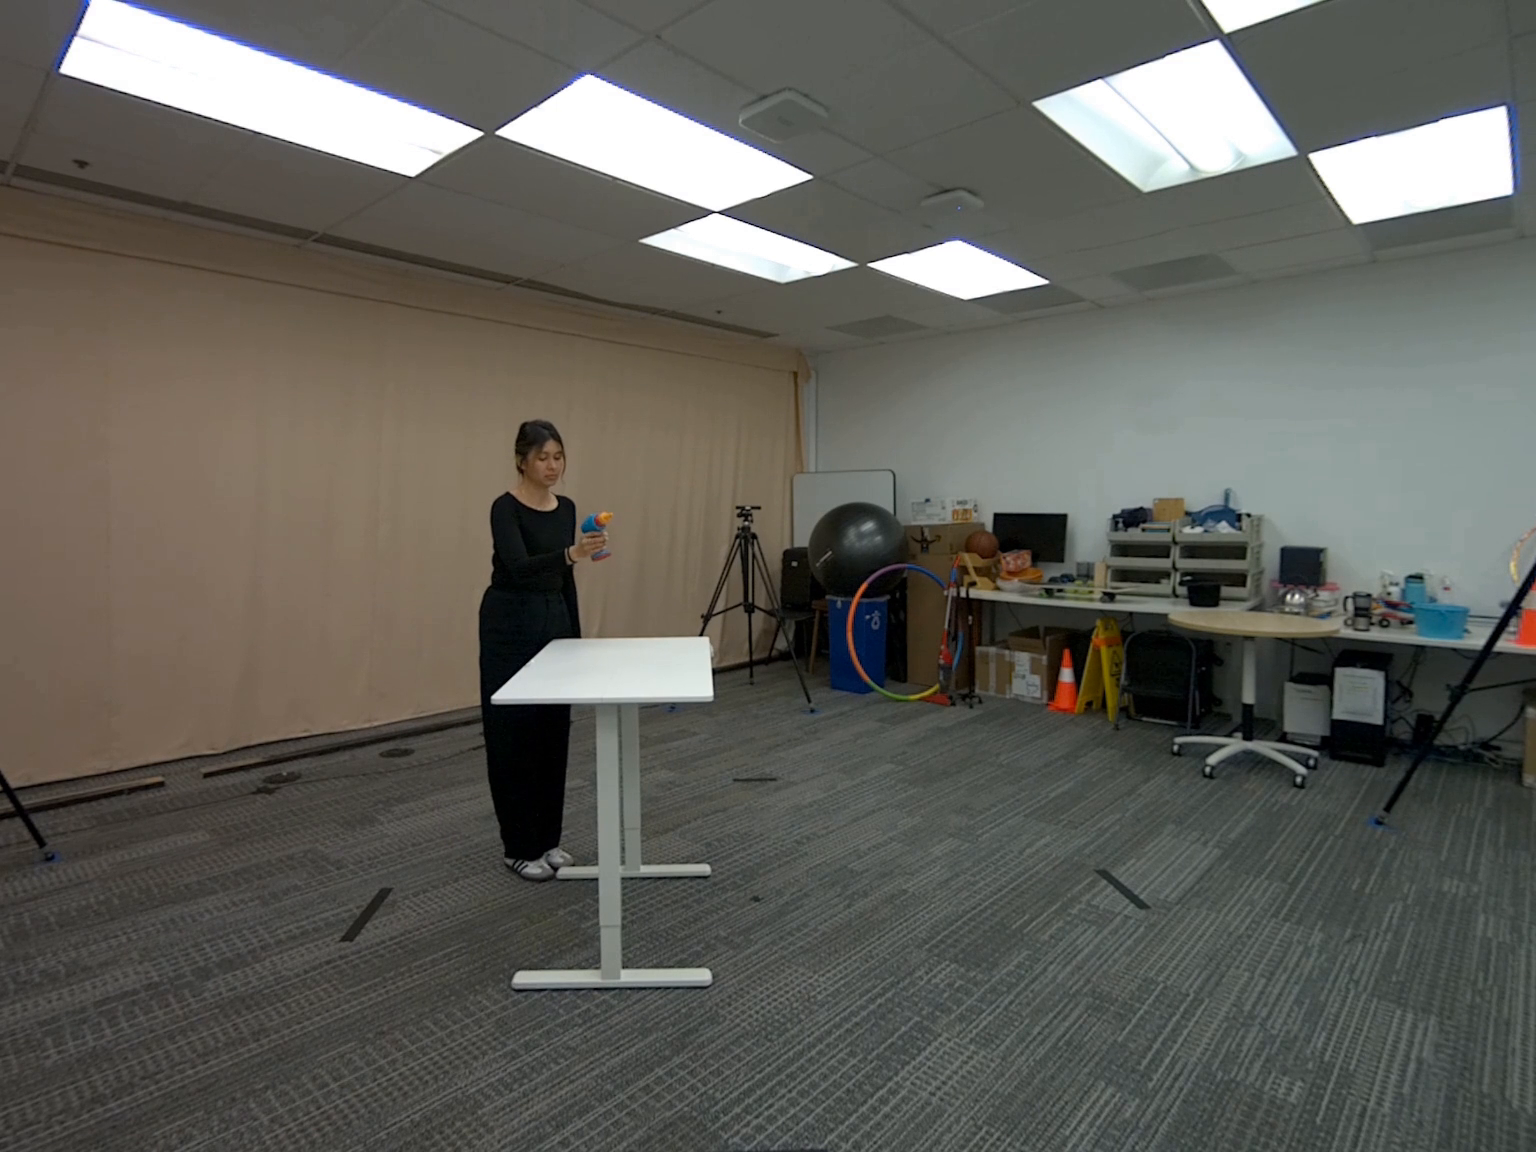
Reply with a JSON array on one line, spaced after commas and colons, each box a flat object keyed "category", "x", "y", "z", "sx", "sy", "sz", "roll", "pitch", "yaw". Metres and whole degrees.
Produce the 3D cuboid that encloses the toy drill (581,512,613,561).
[{"category": "toy drill", "x": -0.542, "y": -0.137, "z": 2.728, "sx": 0.059, "sy": 0.147, "sz": 0.173, "roll": -14, "pitch": -7, "yaw": -46}]
